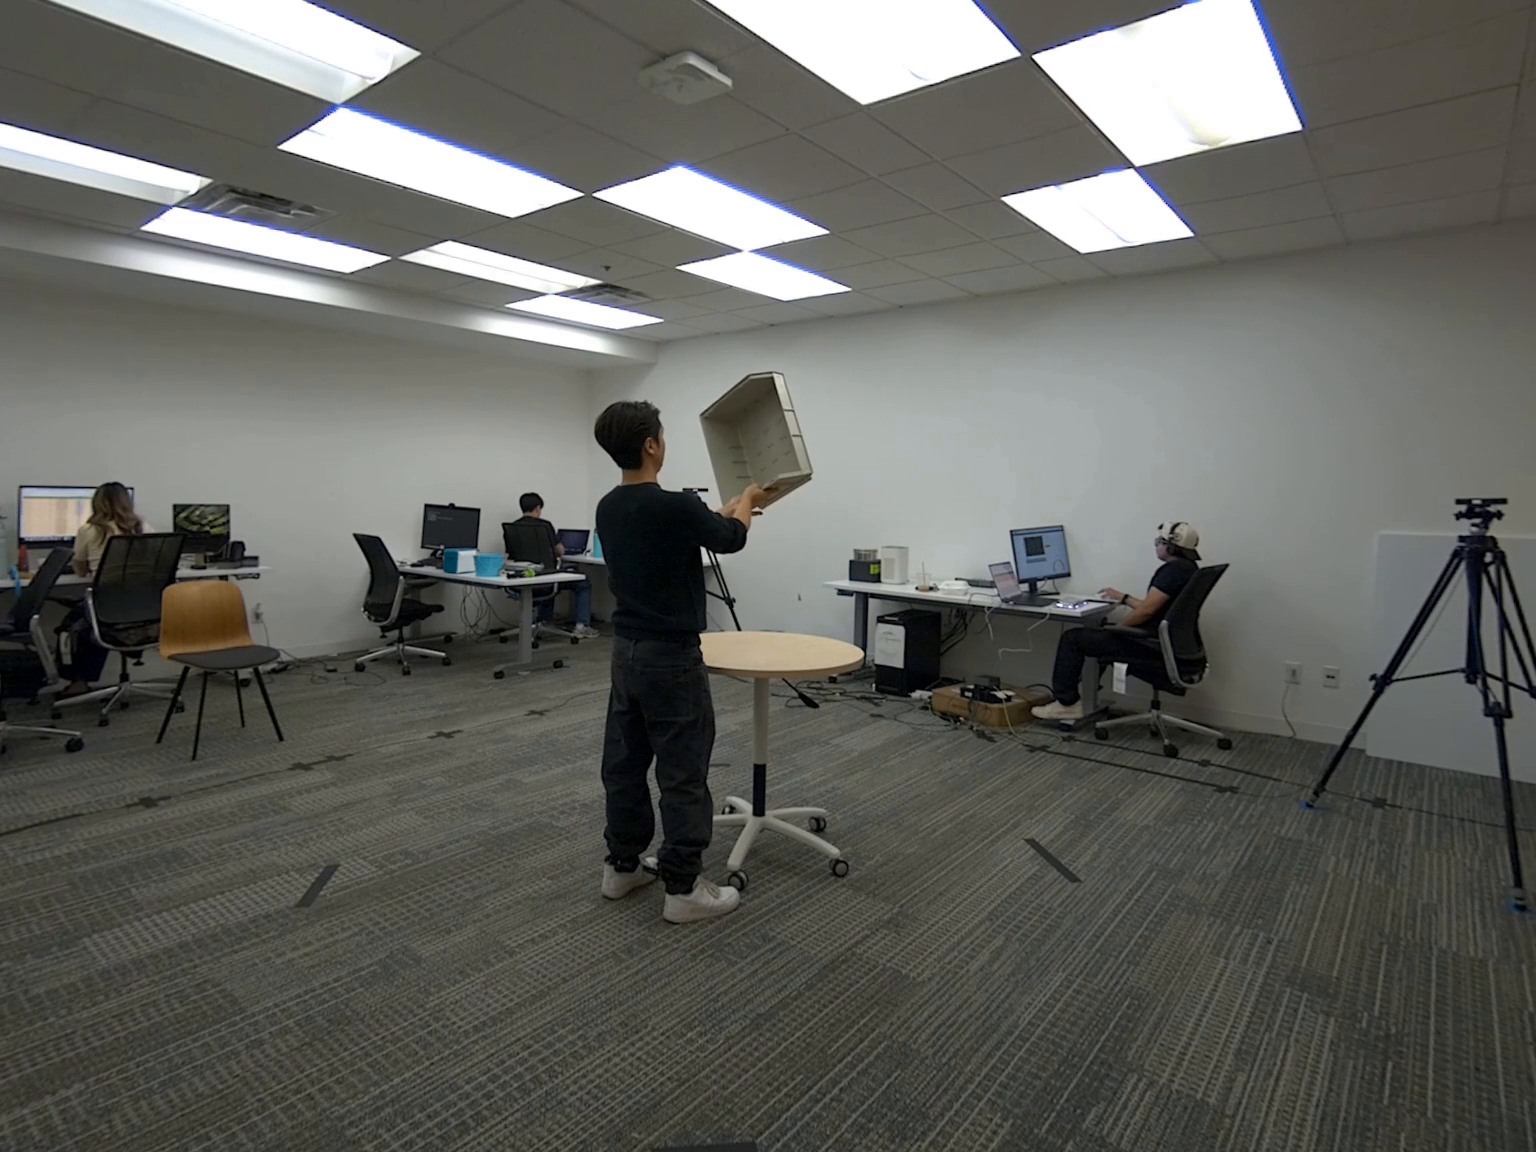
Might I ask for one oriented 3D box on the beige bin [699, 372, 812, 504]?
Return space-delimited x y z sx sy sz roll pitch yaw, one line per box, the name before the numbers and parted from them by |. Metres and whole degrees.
beige bin | -0.055 -0.511 3.233 0.184 0.429 0.382 -6 -16 -38
